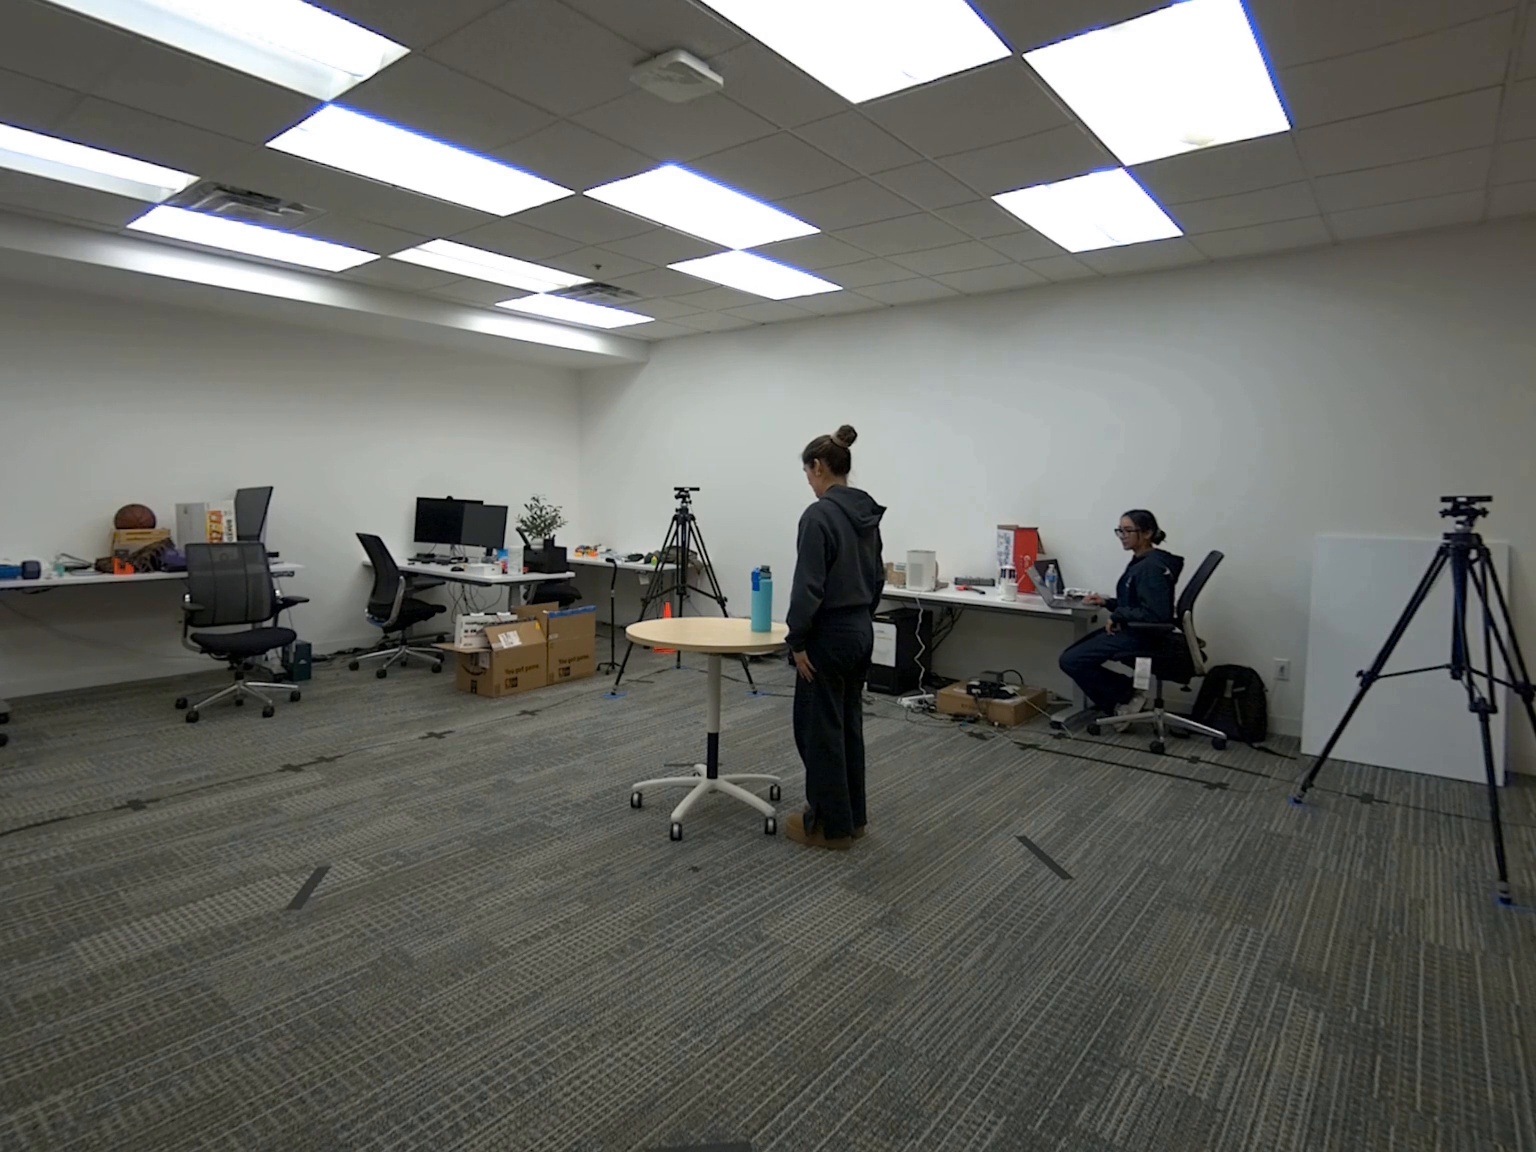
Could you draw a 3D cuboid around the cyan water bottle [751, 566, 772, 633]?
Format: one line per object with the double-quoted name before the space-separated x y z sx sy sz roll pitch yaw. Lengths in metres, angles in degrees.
"cyan water bottle" -0.022 0.093 3.673 0.092 0.282 0.093 3 4 -2
